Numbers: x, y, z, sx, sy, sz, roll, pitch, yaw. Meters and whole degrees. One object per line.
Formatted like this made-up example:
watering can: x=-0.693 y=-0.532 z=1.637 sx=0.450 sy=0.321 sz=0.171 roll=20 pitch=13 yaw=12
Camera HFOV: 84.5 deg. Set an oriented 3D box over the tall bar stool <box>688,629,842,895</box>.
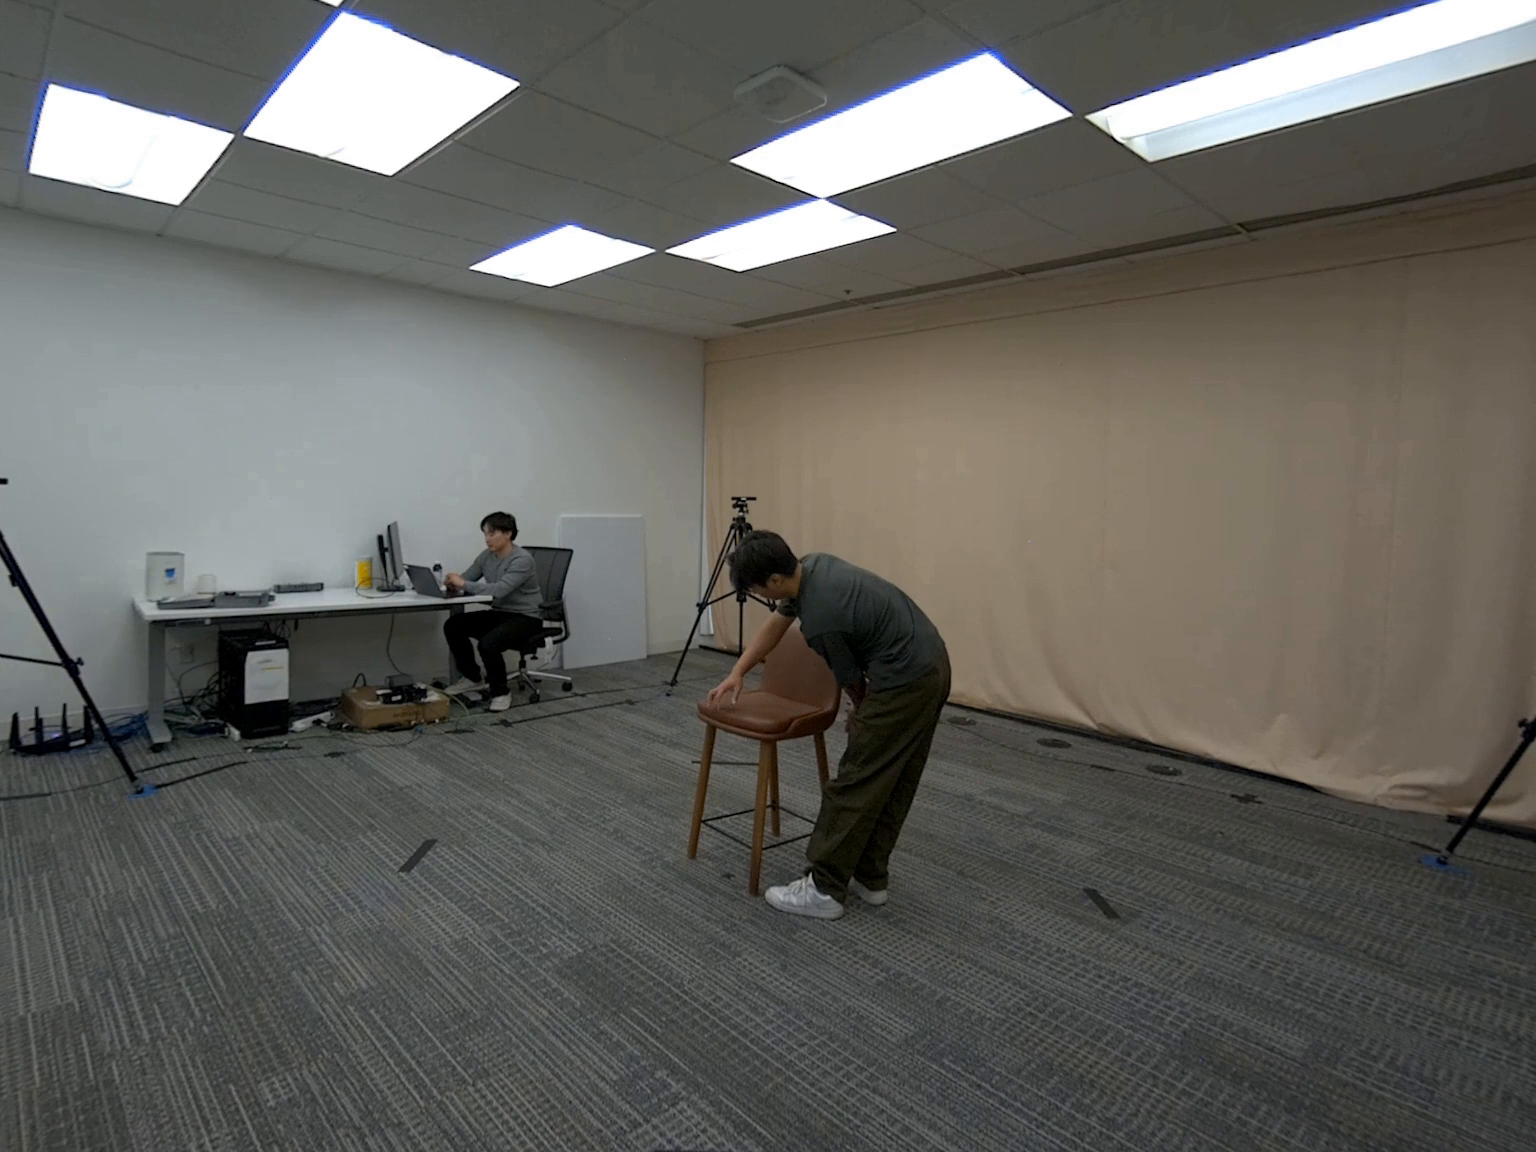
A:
tall bar stool: x=-0.012 y=0.662 z=3.225 sx=0.457 sy=0.888 sz=0.468 roll=1 pitch=3 yaw=-39
